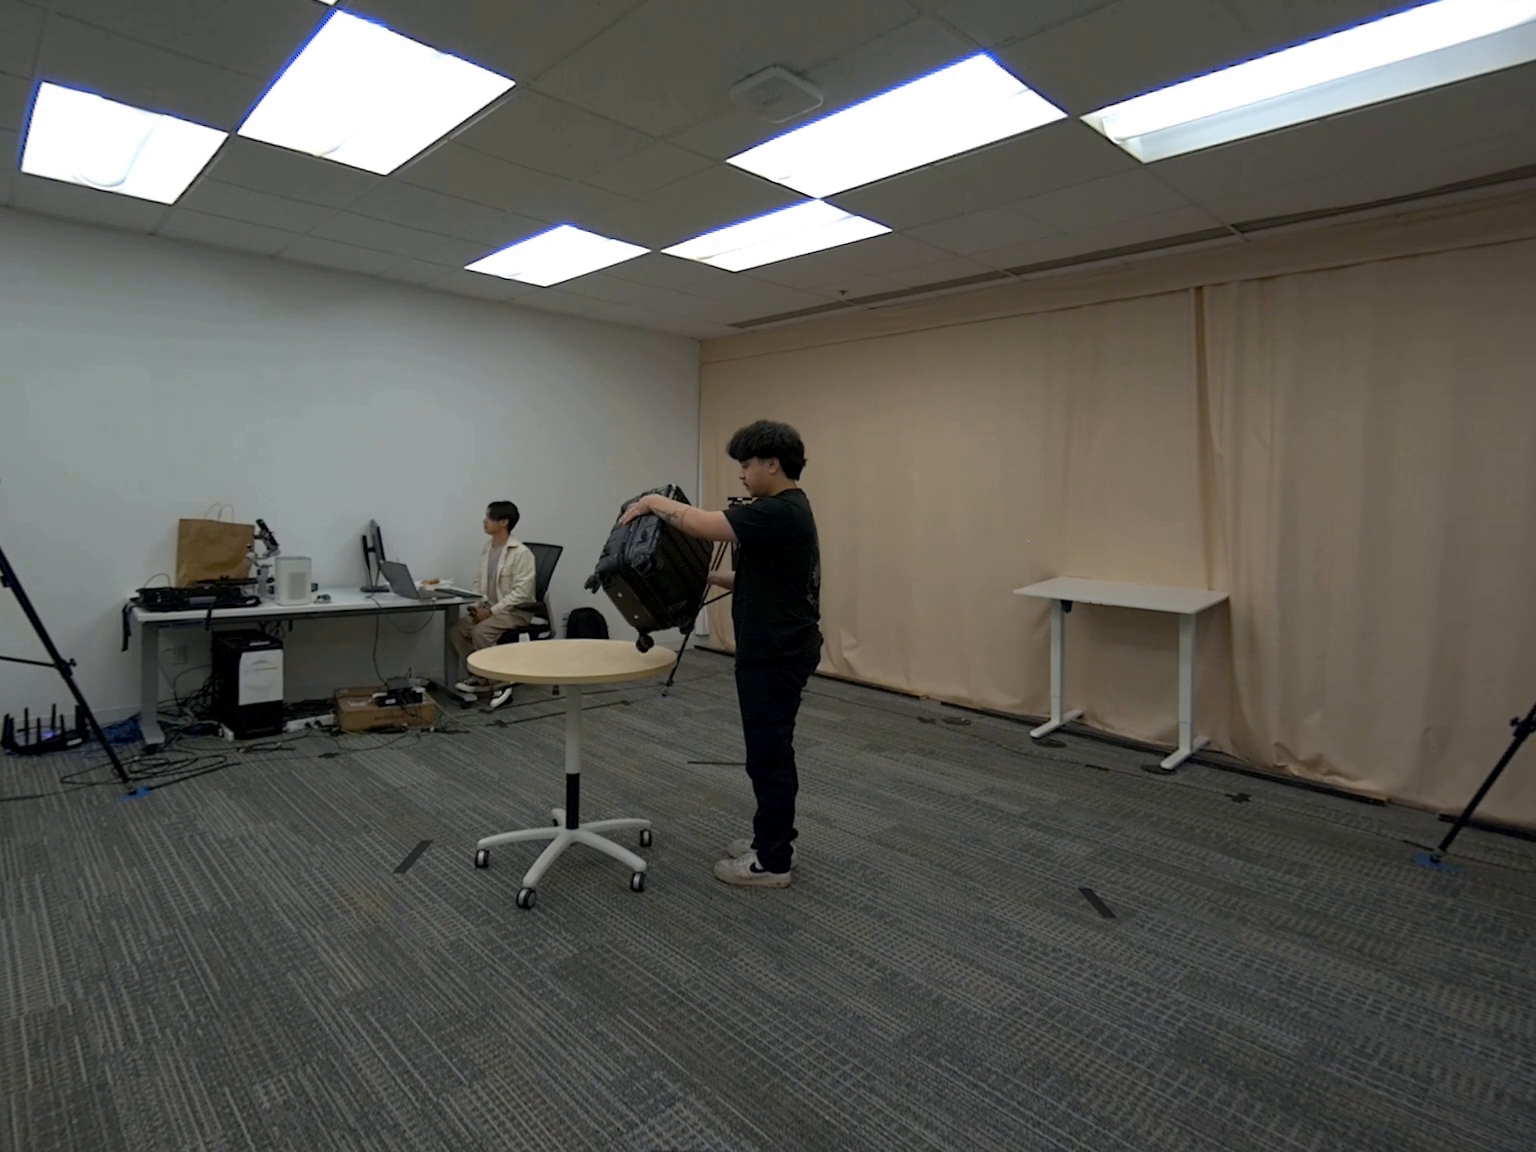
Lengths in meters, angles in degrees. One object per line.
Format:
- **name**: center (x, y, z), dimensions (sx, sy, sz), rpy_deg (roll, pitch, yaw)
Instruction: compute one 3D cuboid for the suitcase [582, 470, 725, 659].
- **suitcase**: center (-0.400, -0.053, 3.099), dimensions (0.251, 0.365, 0.558), rpy_deg (-21, 32, 22)
